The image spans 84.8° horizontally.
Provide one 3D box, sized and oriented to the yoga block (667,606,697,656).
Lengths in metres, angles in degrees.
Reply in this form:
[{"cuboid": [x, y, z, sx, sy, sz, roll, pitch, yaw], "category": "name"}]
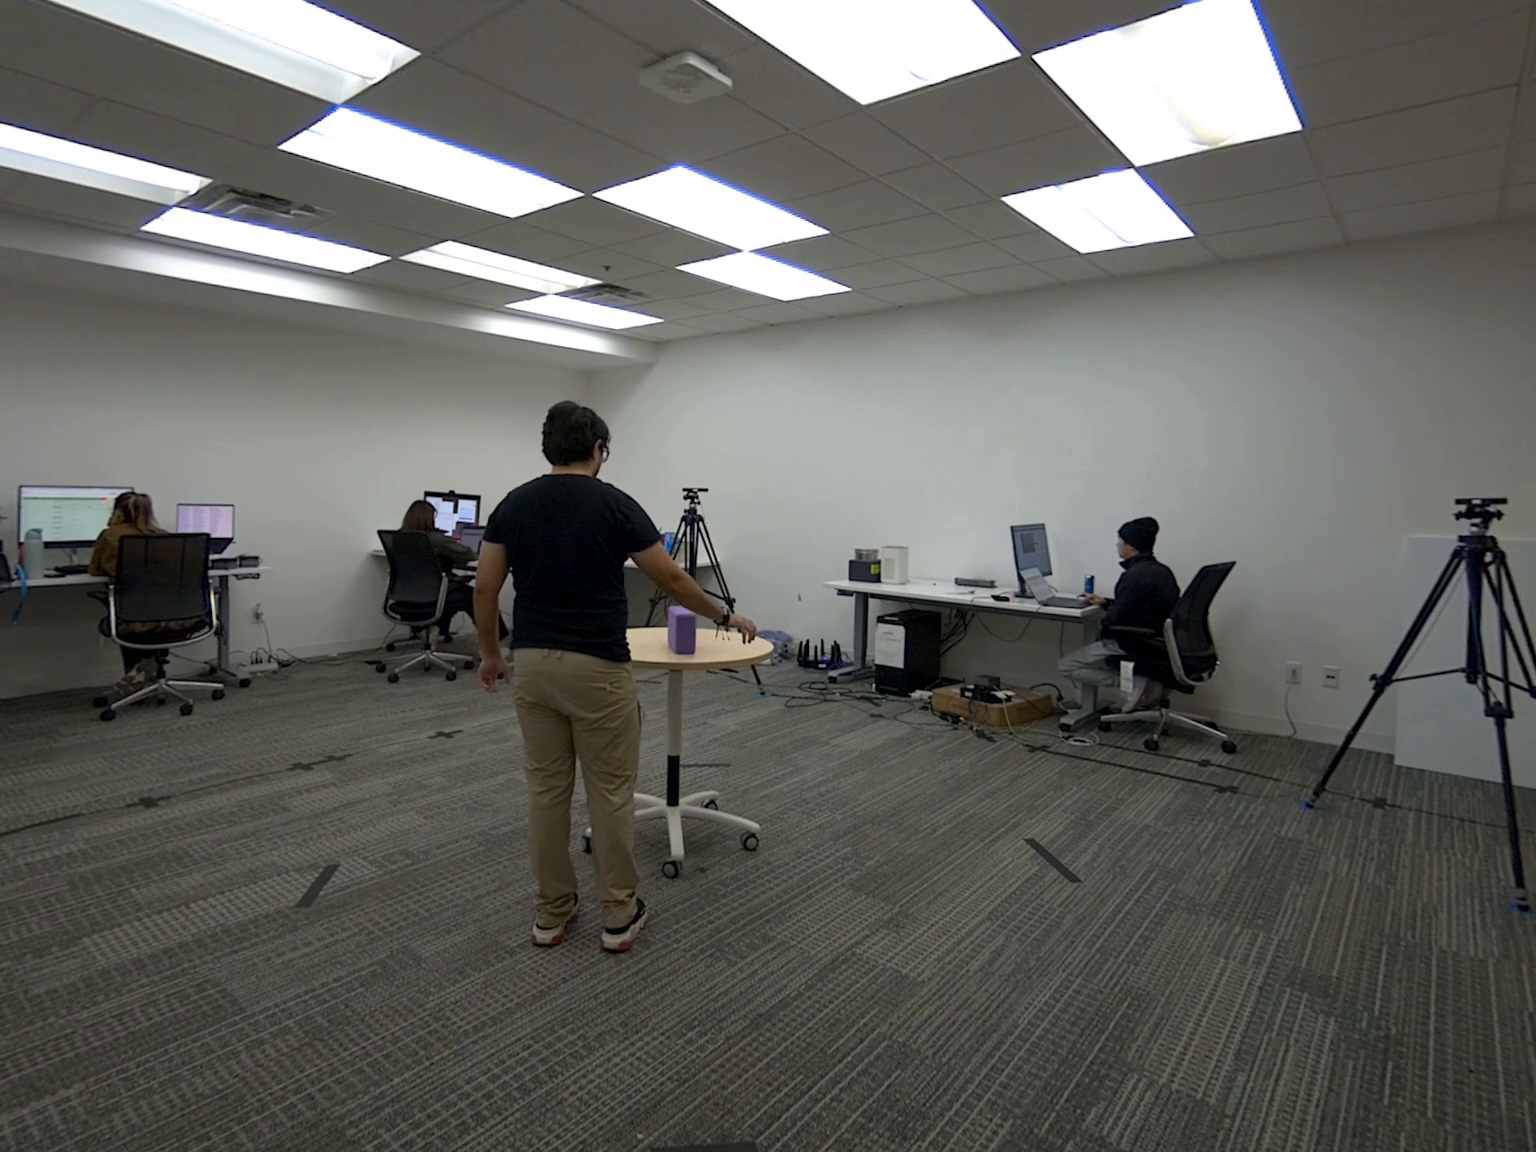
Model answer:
[{"cuboid": [-0.343, 0.199, 3.217, 0.075, 0.148, 0.233, 1, 5, -11], "category": "yoga block"}]
